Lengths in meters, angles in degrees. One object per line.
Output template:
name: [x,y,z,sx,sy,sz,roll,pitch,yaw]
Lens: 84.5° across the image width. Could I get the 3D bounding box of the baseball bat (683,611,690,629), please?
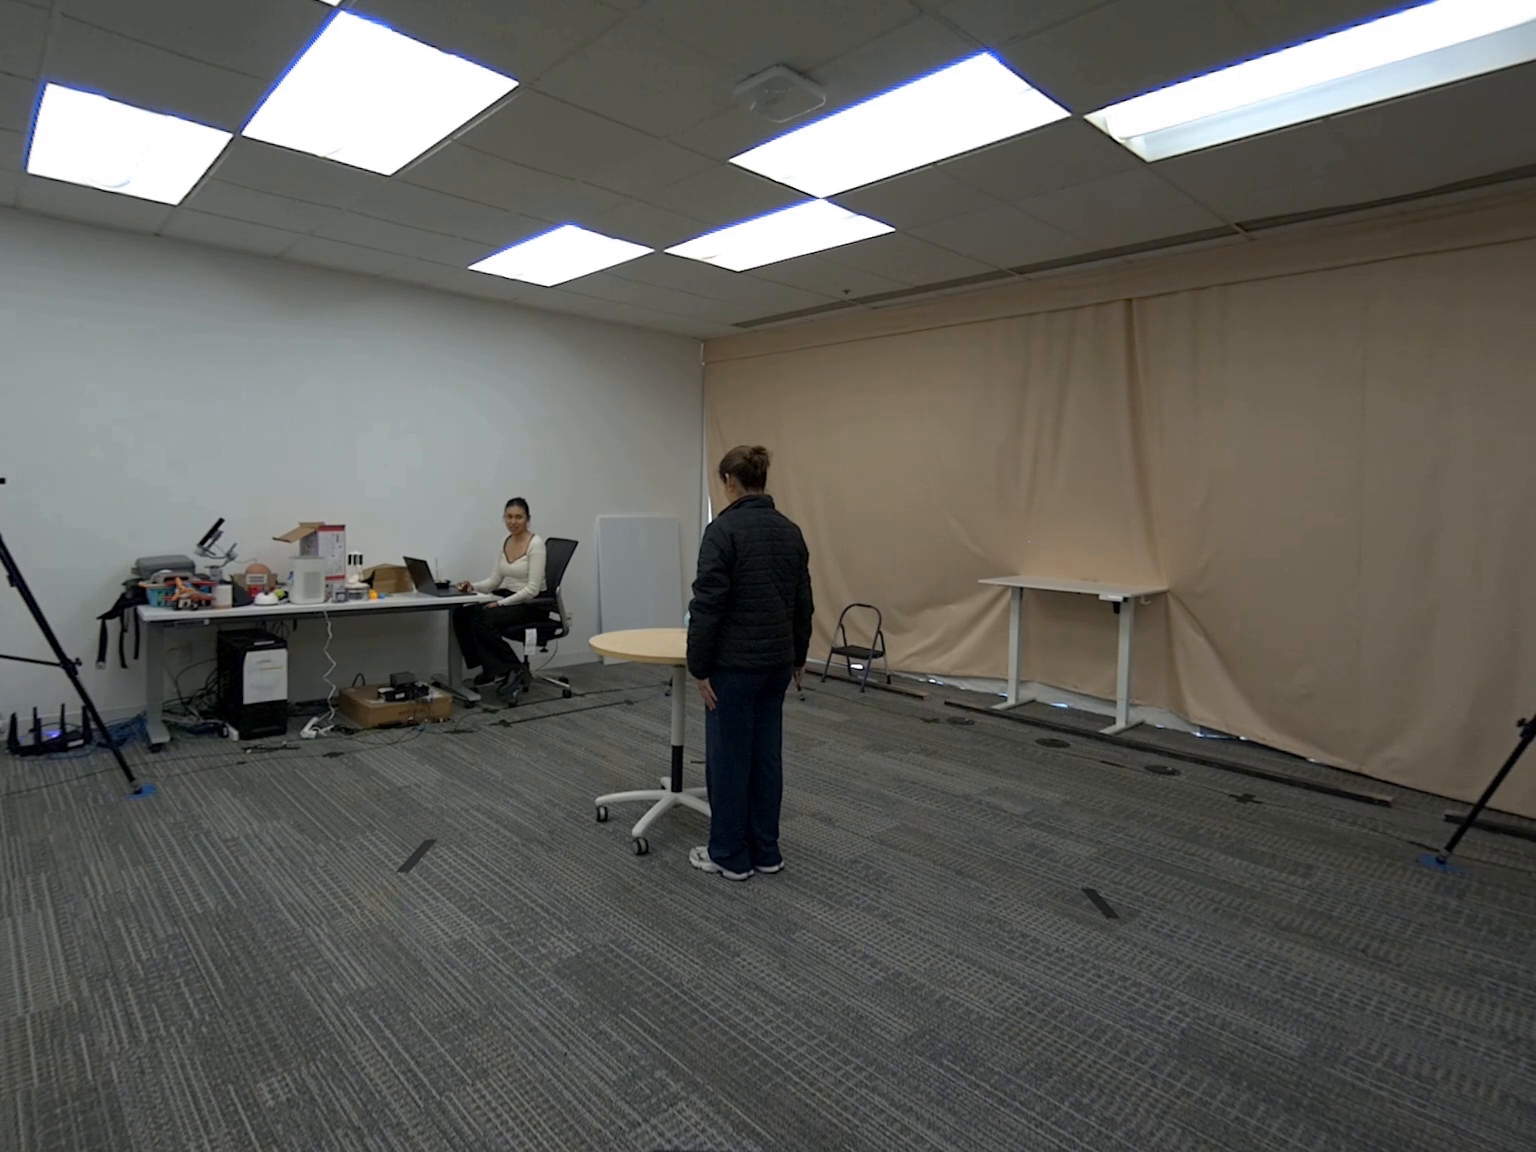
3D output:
baseball bat: [-0.198,0.247,3.645,0.087,0.088,0.557,-2,9,-35]
